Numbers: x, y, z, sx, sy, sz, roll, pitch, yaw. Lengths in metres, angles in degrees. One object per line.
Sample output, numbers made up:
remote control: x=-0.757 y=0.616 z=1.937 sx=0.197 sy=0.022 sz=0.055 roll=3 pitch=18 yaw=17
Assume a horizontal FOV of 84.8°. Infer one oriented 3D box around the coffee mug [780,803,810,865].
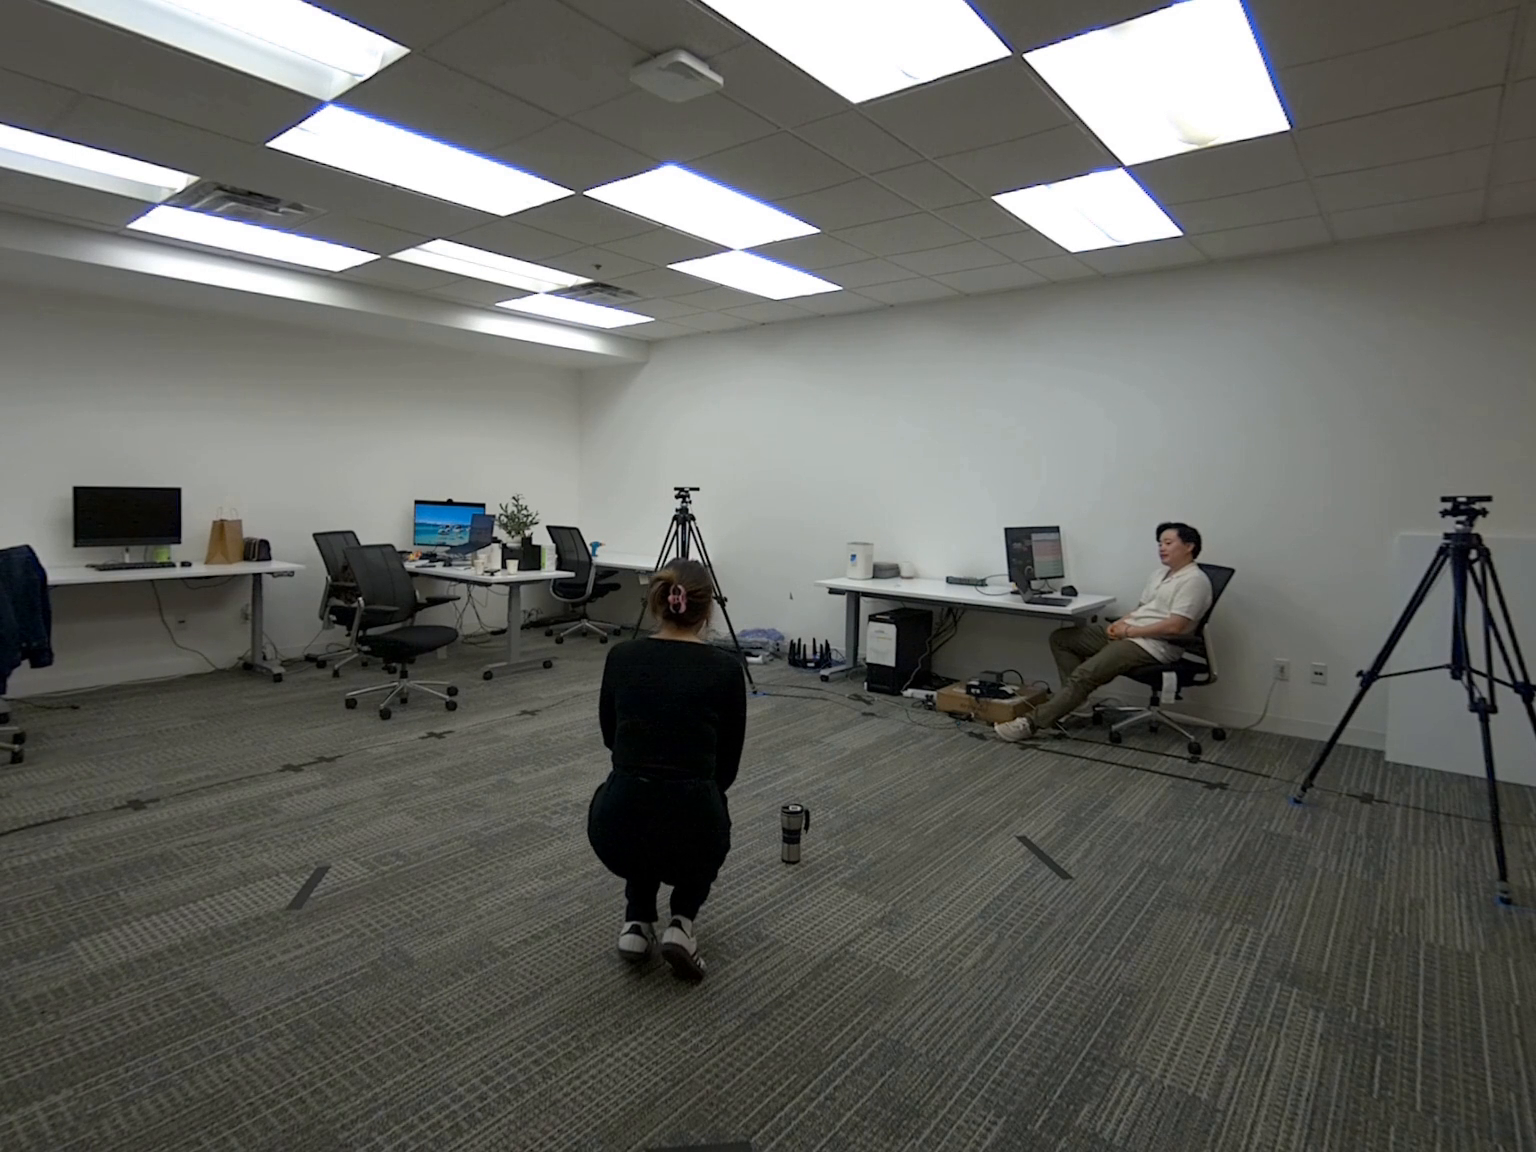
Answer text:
coffee mug: x=0.105 y=0.964 z=3.191 sx=0.121 sy=0.202 sz=0.089 roll=-2 pitch=2 yaw=-10
